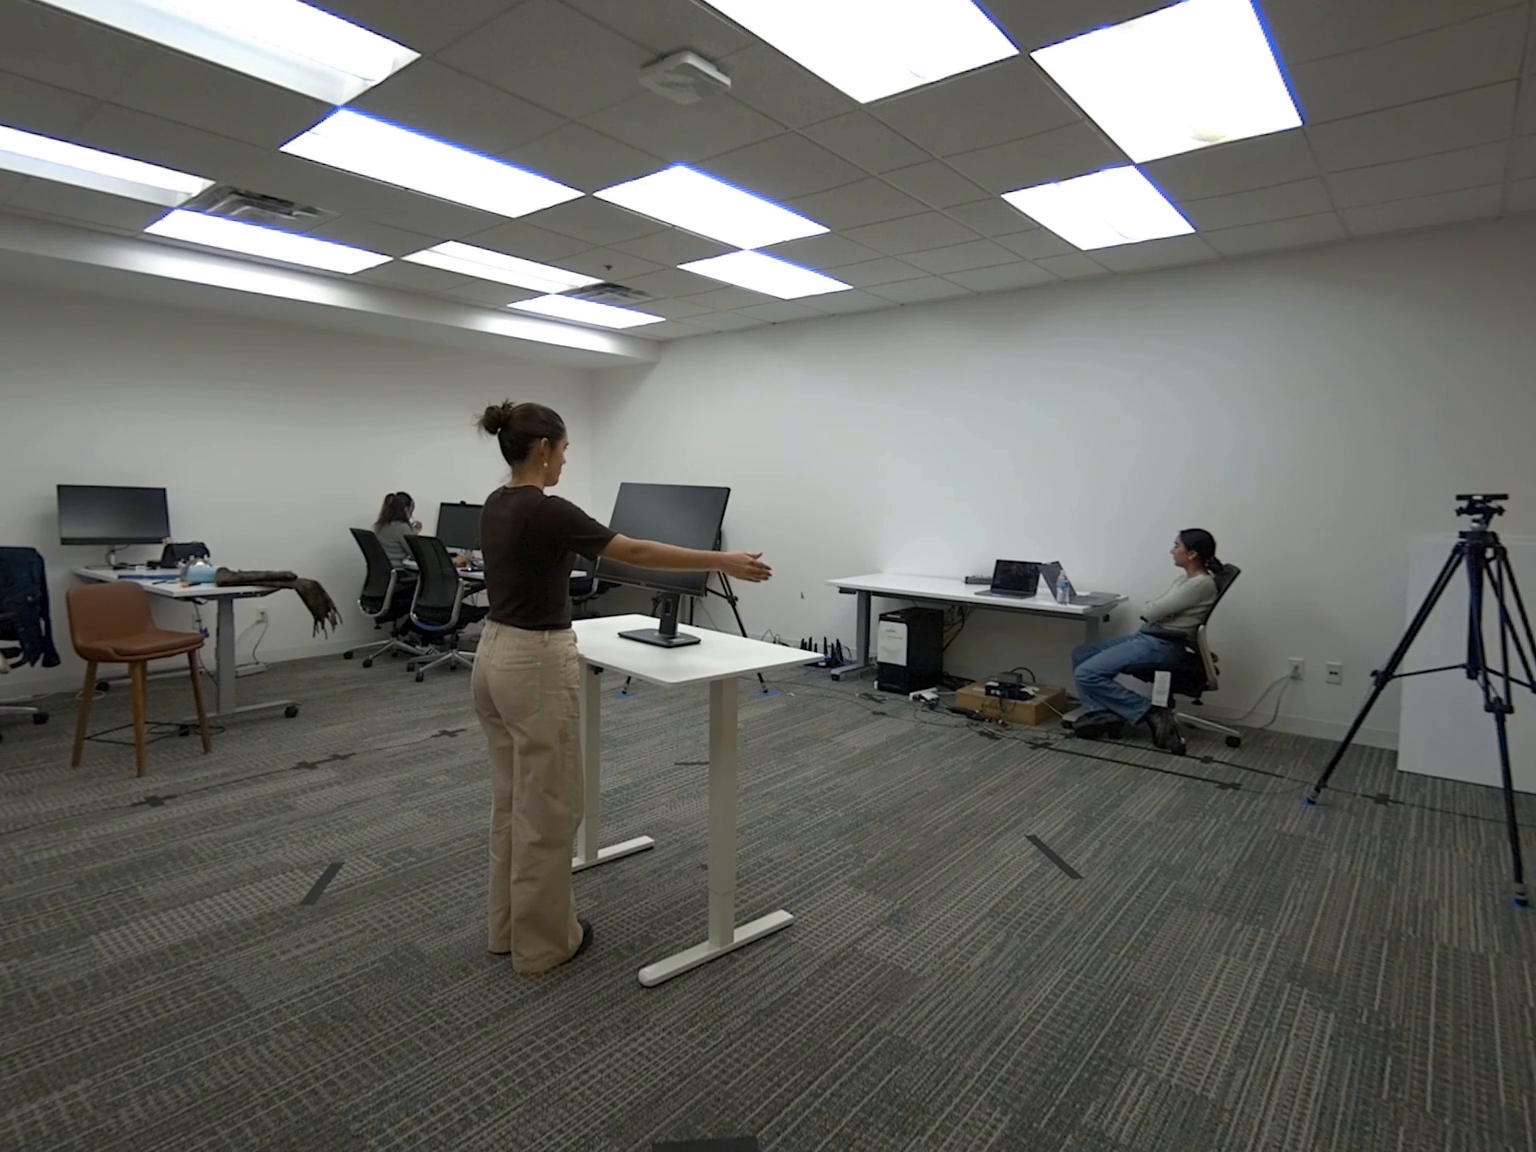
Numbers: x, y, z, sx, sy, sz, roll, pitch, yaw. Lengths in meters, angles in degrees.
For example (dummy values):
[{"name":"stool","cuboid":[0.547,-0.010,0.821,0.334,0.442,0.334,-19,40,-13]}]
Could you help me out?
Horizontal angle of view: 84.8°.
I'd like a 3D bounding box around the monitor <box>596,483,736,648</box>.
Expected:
[{"name":"monitor","cuboid":[-0.360,-0.045,2.819,0.558,0.522,0.181,6,2,41]}]
